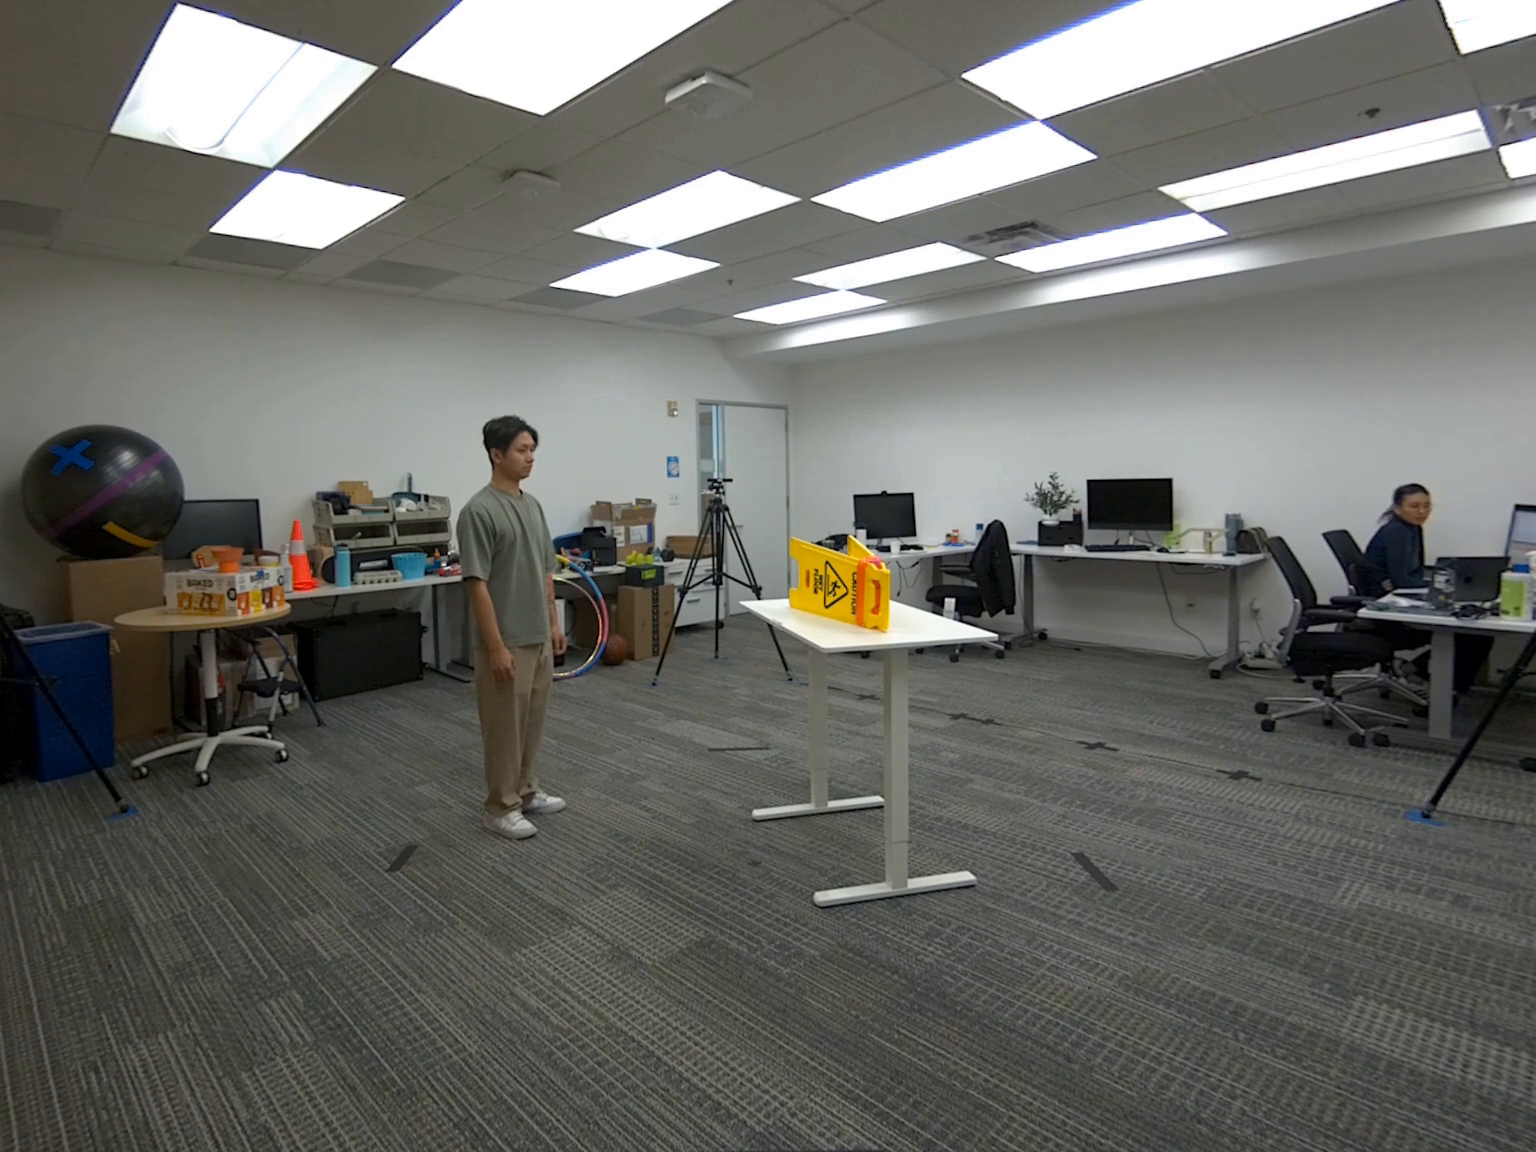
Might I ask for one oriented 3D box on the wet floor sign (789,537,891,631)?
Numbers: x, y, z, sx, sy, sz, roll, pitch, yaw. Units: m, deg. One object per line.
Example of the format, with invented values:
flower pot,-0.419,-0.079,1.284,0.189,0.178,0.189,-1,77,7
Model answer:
wet floor sign,0.308,0.033,3.115,0.286,0.280,0.659,-3,9,-15
